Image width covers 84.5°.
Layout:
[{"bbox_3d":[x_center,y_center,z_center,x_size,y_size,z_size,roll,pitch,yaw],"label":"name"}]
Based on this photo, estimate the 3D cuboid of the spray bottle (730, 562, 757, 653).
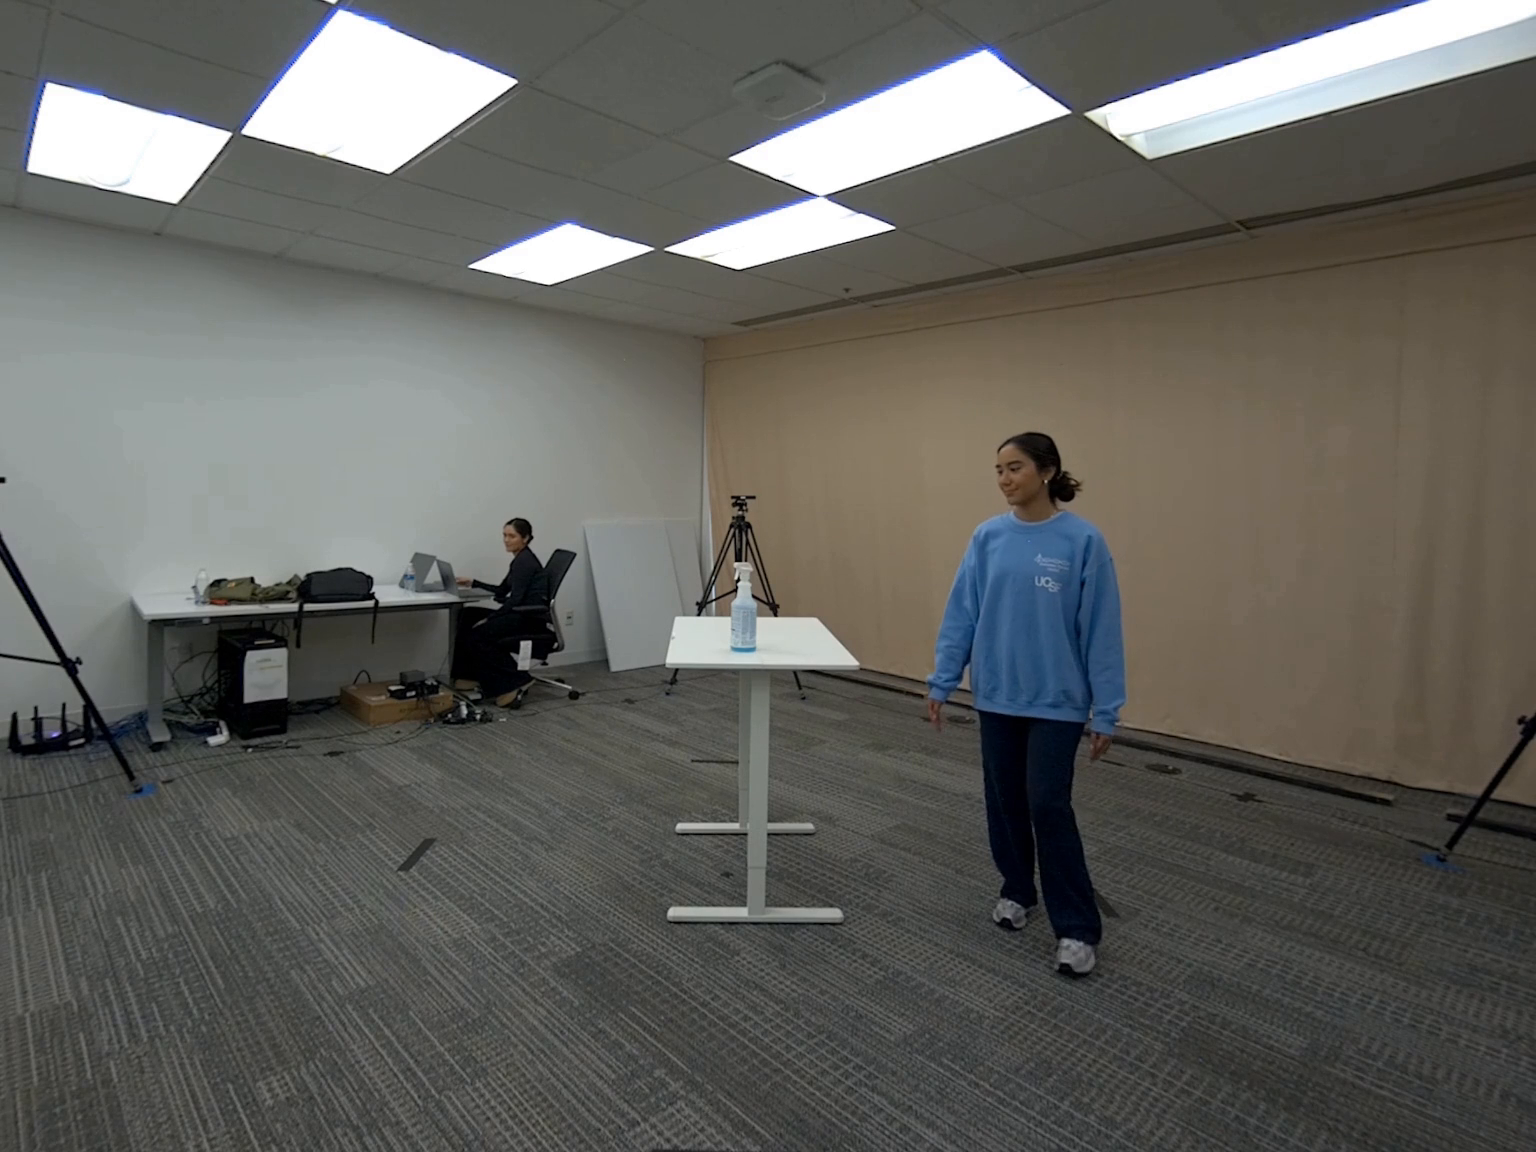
[{"bbox_3d":[-0.083,0.105,2.806,0.088,0.296,0.089,-3,8,-25],"label":"spray bottle"}]
